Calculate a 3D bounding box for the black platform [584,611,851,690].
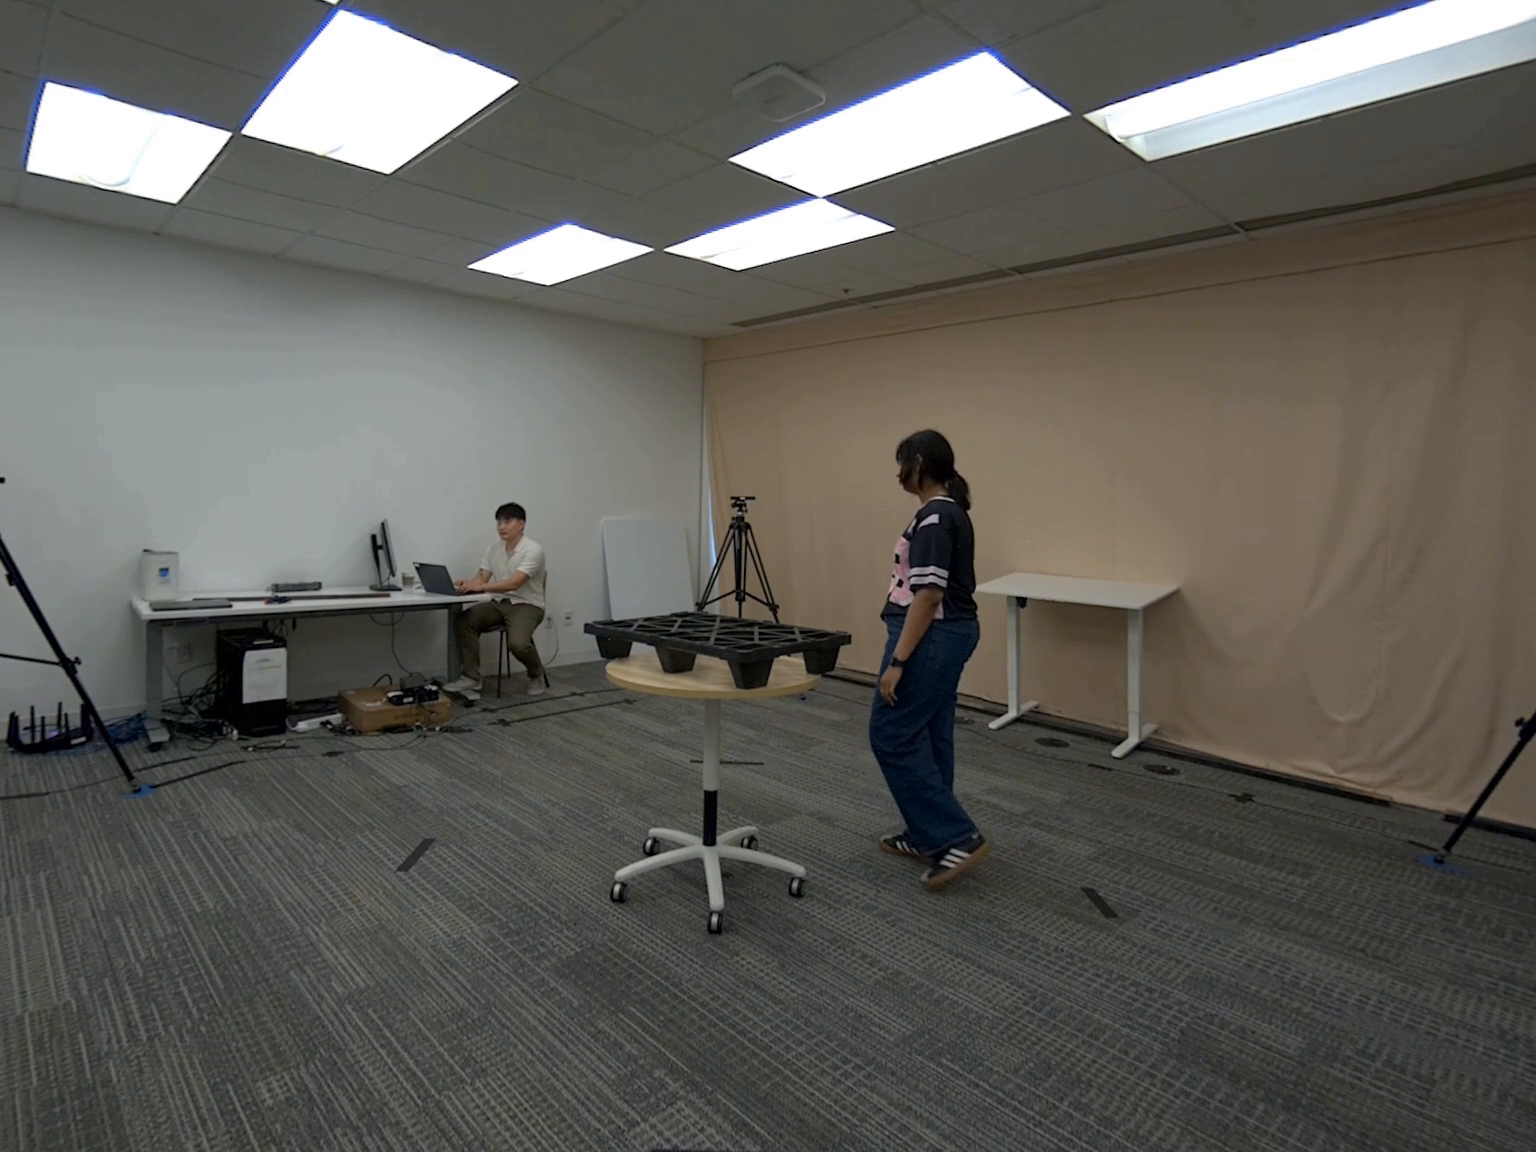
[{"bbox_3d":[-0.200,0.260,3.064,0.826,0.143,0.591,7,6,42],"label":"black platform"}]
